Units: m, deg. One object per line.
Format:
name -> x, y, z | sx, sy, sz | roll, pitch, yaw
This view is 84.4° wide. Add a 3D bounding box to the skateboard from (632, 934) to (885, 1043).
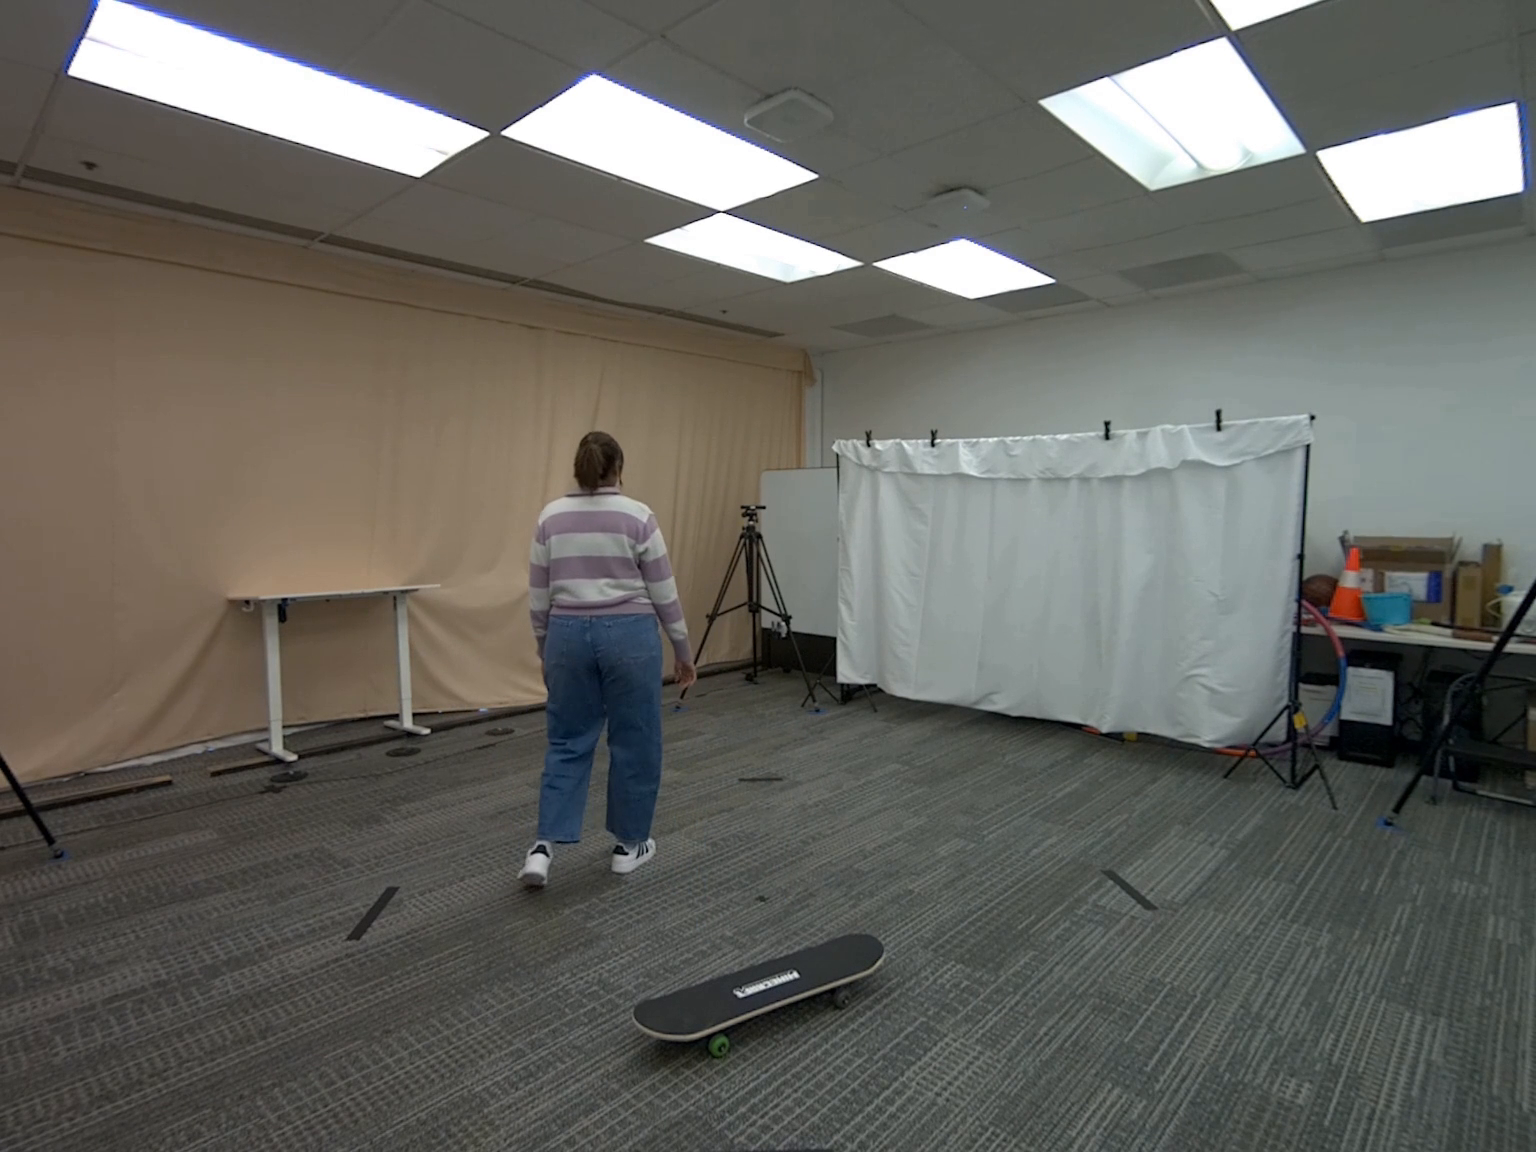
skateboard -> 0.000, 1.144, 2.300 | 0.764, 0.110, 0.199 | -3, 5, -31
